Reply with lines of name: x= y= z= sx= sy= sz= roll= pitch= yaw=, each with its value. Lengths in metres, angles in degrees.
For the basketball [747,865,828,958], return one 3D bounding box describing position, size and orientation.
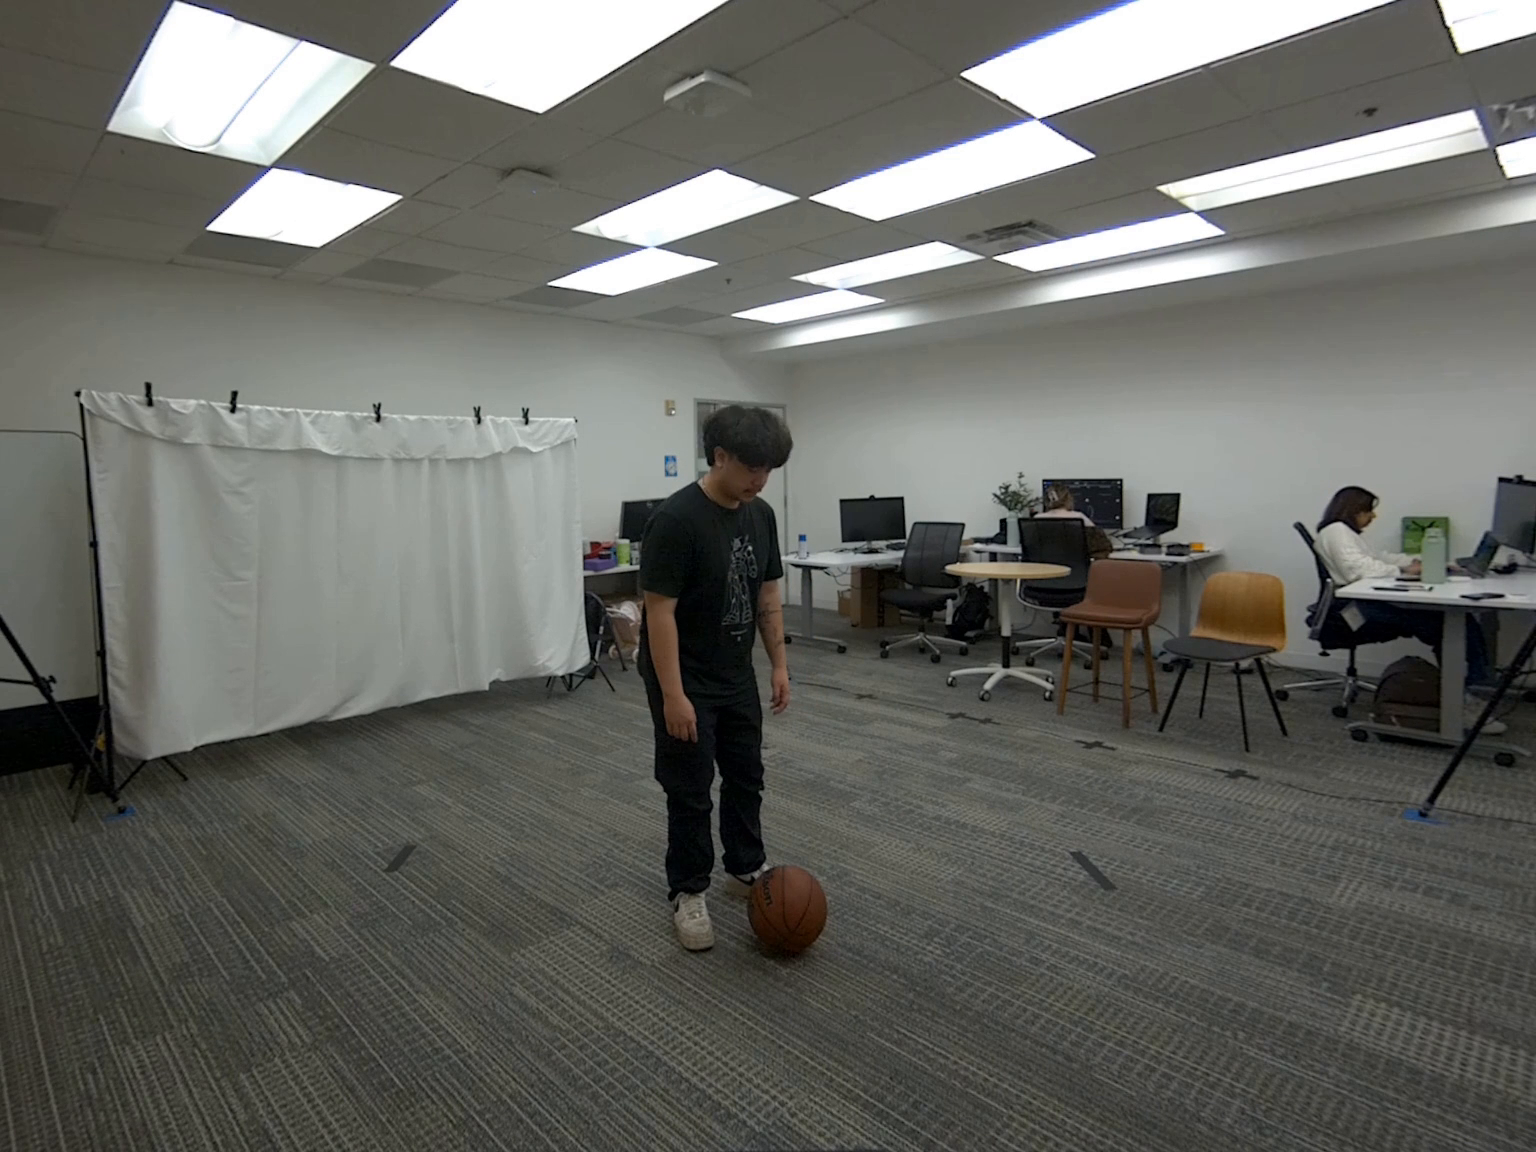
basketball: x=0.064 y=0.987 z=2.538 sx=0.236 sy=0.235 sz=0.237 roll=-1 pitch=5 yaw=-2
